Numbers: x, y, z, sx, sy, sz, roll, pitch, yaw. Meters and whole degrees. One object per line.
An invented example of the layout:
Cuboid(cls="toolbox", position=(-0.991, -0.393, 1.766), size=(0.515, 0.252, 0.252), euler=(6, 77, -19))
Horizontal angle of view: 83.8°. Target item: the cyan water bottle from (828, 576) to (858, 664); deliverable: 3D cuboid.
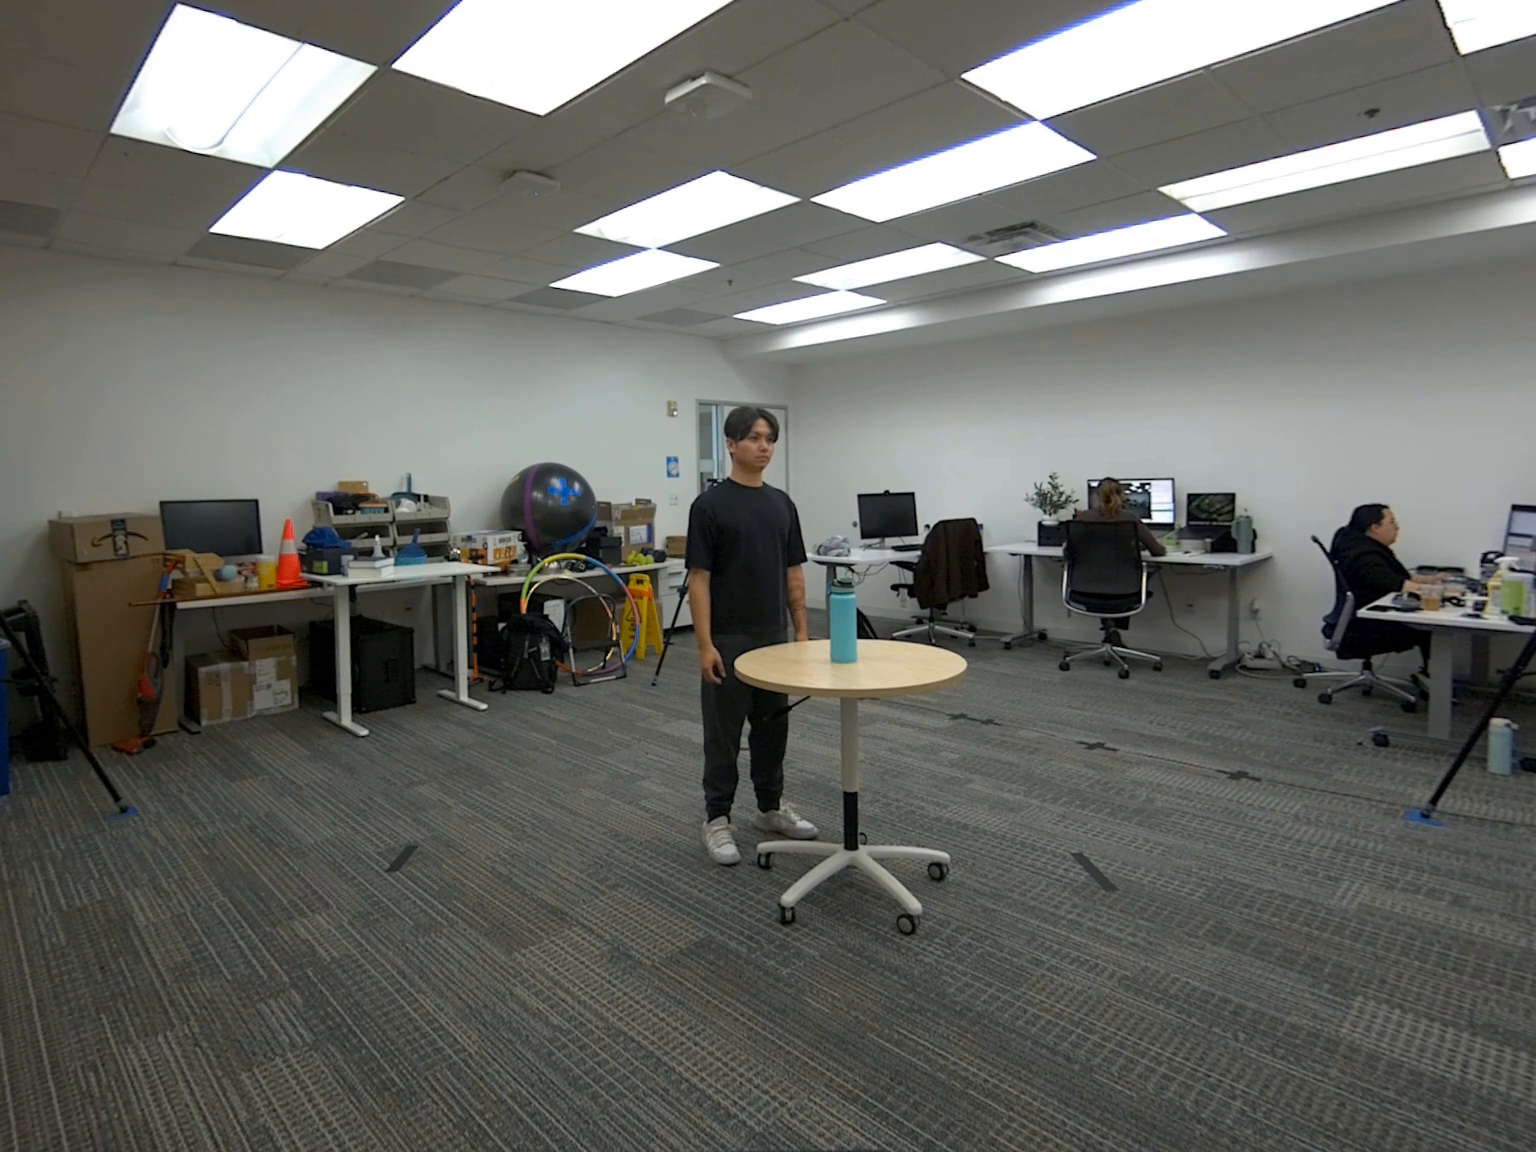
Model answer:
Cuboid(cls="cyan water bottle", position=(0.257, 0.146, 2.857), size=(0.092, 0.282, 0.093), euler=(-4, 3, -1))
